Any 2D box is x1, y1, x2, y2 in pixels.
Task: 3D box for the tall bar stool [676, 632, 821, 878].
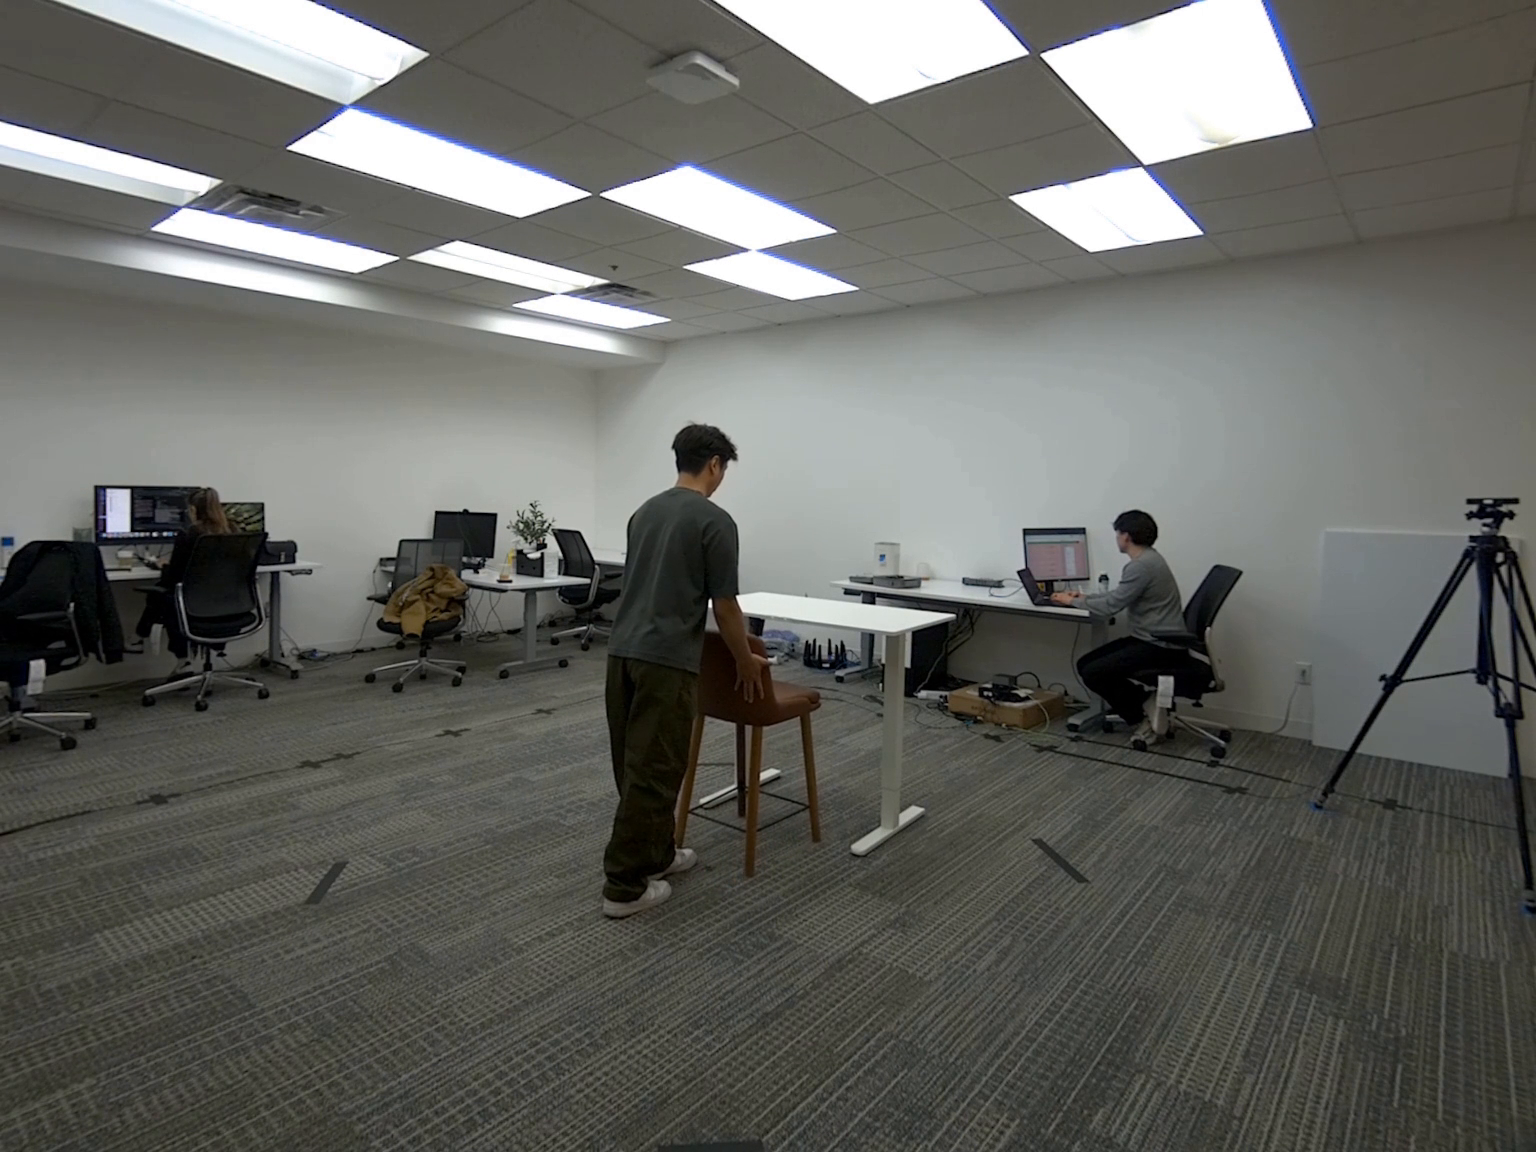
[{"bbox_3d":[-0.088,0.608,3.304,0.472,0.886,0.454,4,6,38],"label":"tall bar stool"}]
